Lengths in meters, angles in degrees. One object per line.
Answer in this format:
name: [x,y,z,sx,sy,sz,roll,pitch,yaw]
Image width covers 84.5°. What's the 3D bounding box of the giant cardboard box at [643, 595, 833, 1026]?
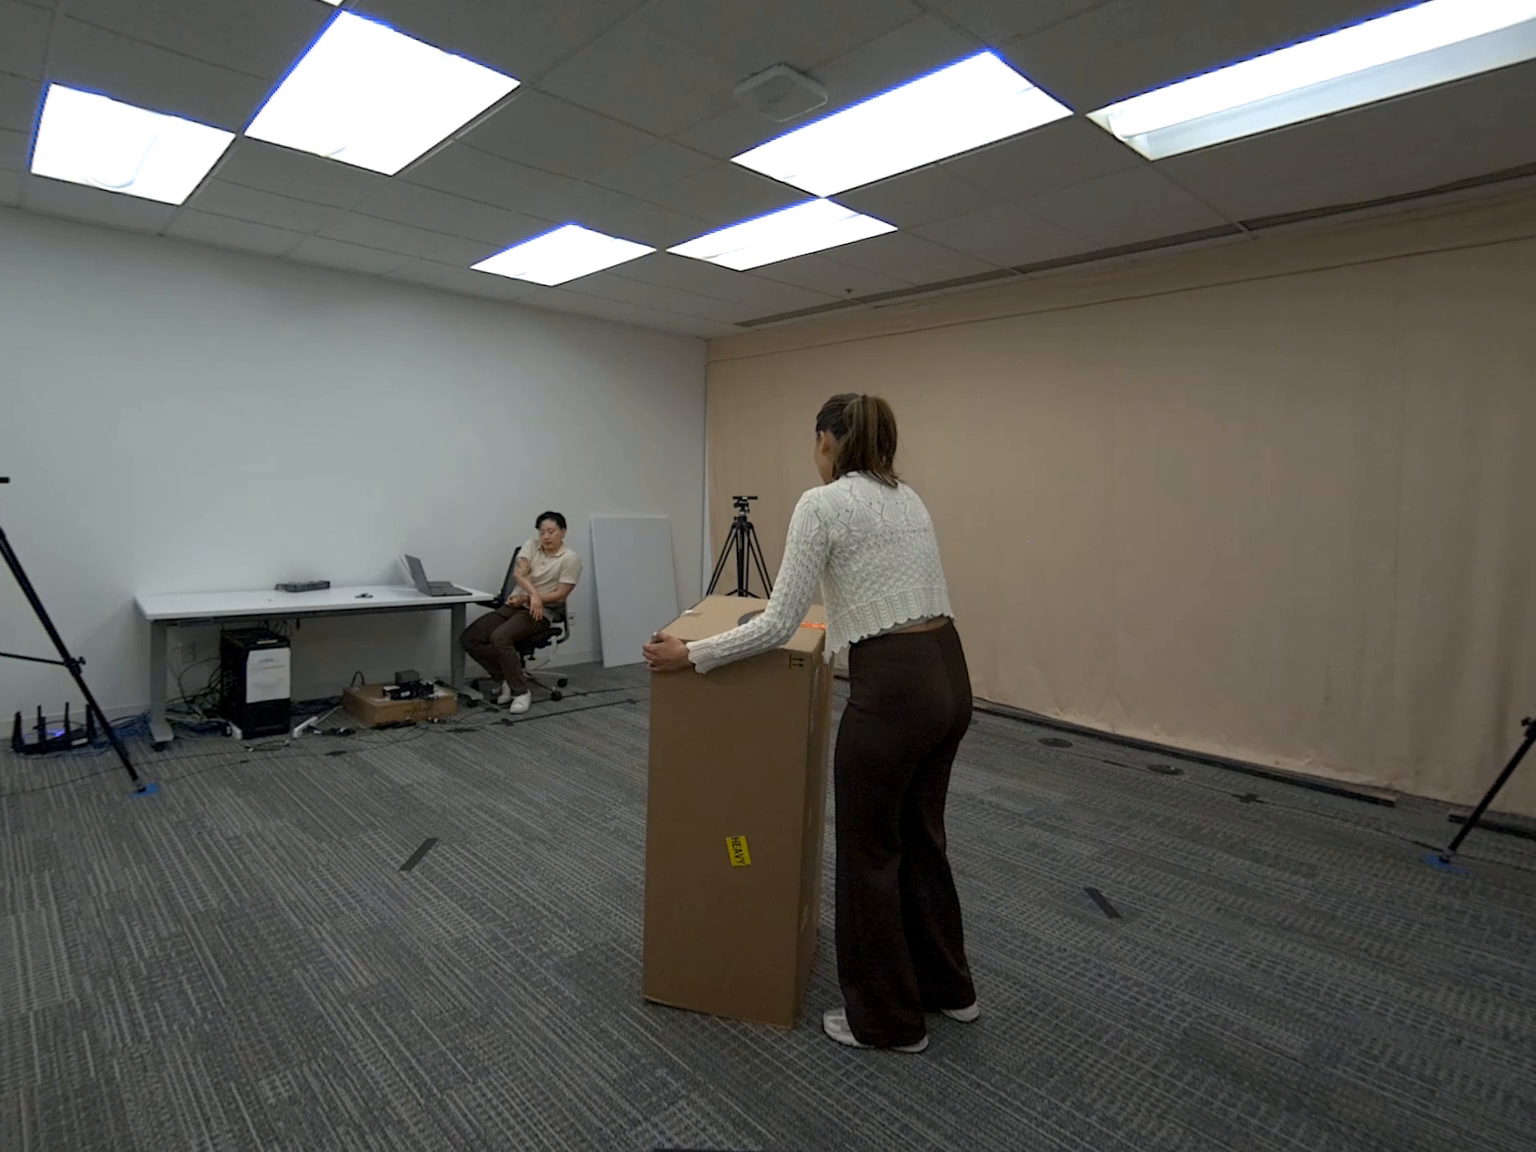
giant cardboard box: [-0.069,0.637,2.456,0.431,1.020,0.574,4,9,13]
